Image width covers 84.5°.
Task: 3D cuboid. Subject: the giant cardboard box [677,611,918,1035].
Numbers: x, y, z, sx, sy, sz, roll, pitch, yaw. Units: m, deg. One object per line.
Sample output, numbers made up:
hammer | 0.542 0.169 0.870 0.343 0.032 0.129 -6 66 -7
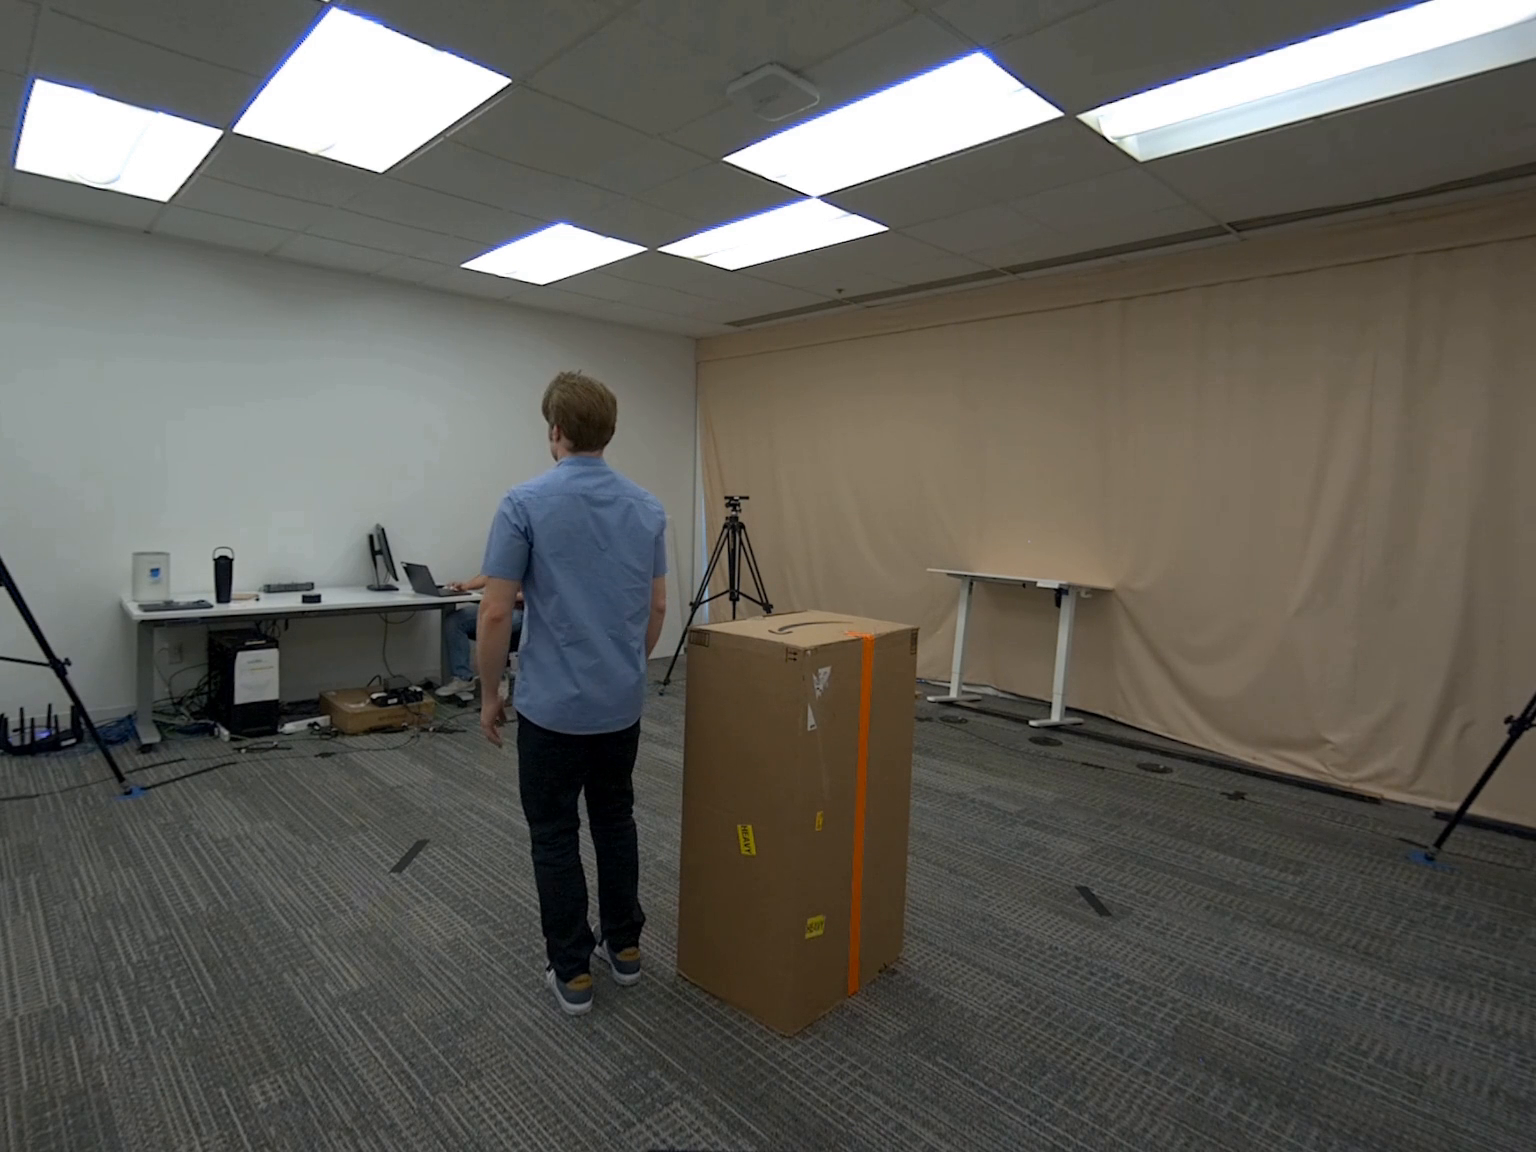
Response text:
giant cardboard box | 0.094 0.659 2.491 0.437 1.023 0.564 5 4 41
